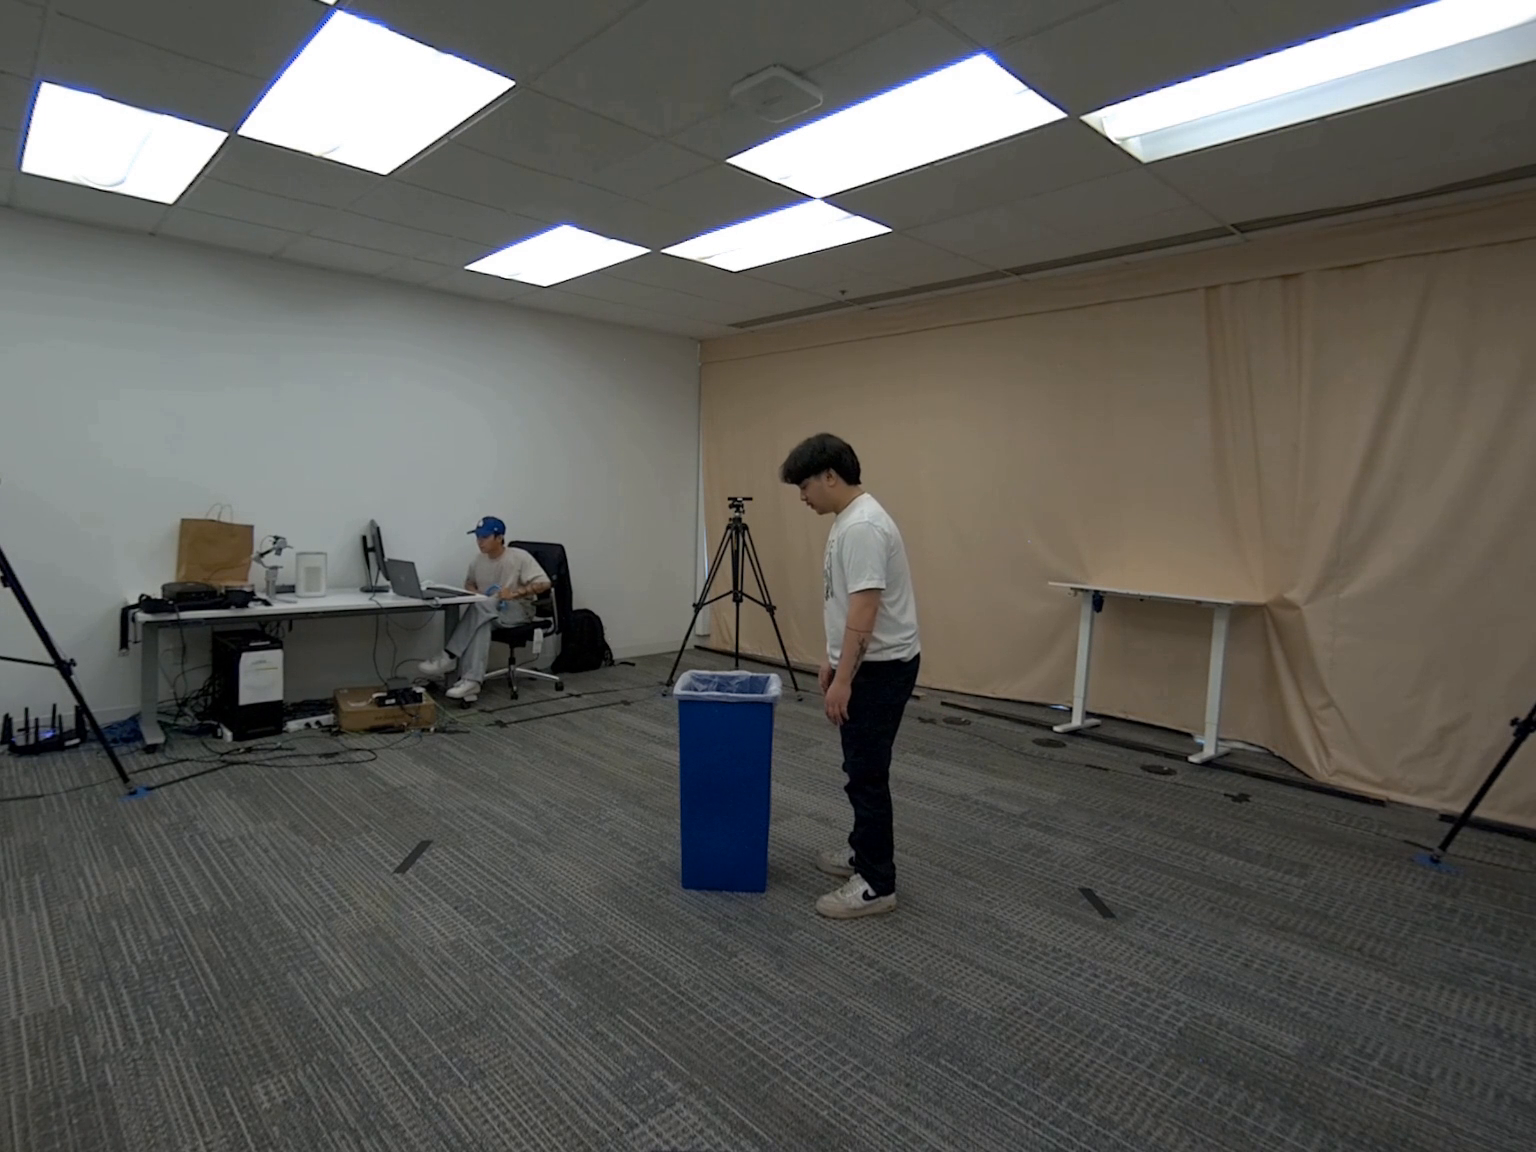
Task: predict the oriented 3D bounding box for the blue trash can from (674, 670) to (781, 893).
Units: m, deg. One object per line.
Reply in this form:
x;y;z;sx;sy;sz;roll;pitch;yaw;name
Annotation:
-0.154;0.747;3.113;0.375;0.712;0.378;2;3;2;blue trash can
